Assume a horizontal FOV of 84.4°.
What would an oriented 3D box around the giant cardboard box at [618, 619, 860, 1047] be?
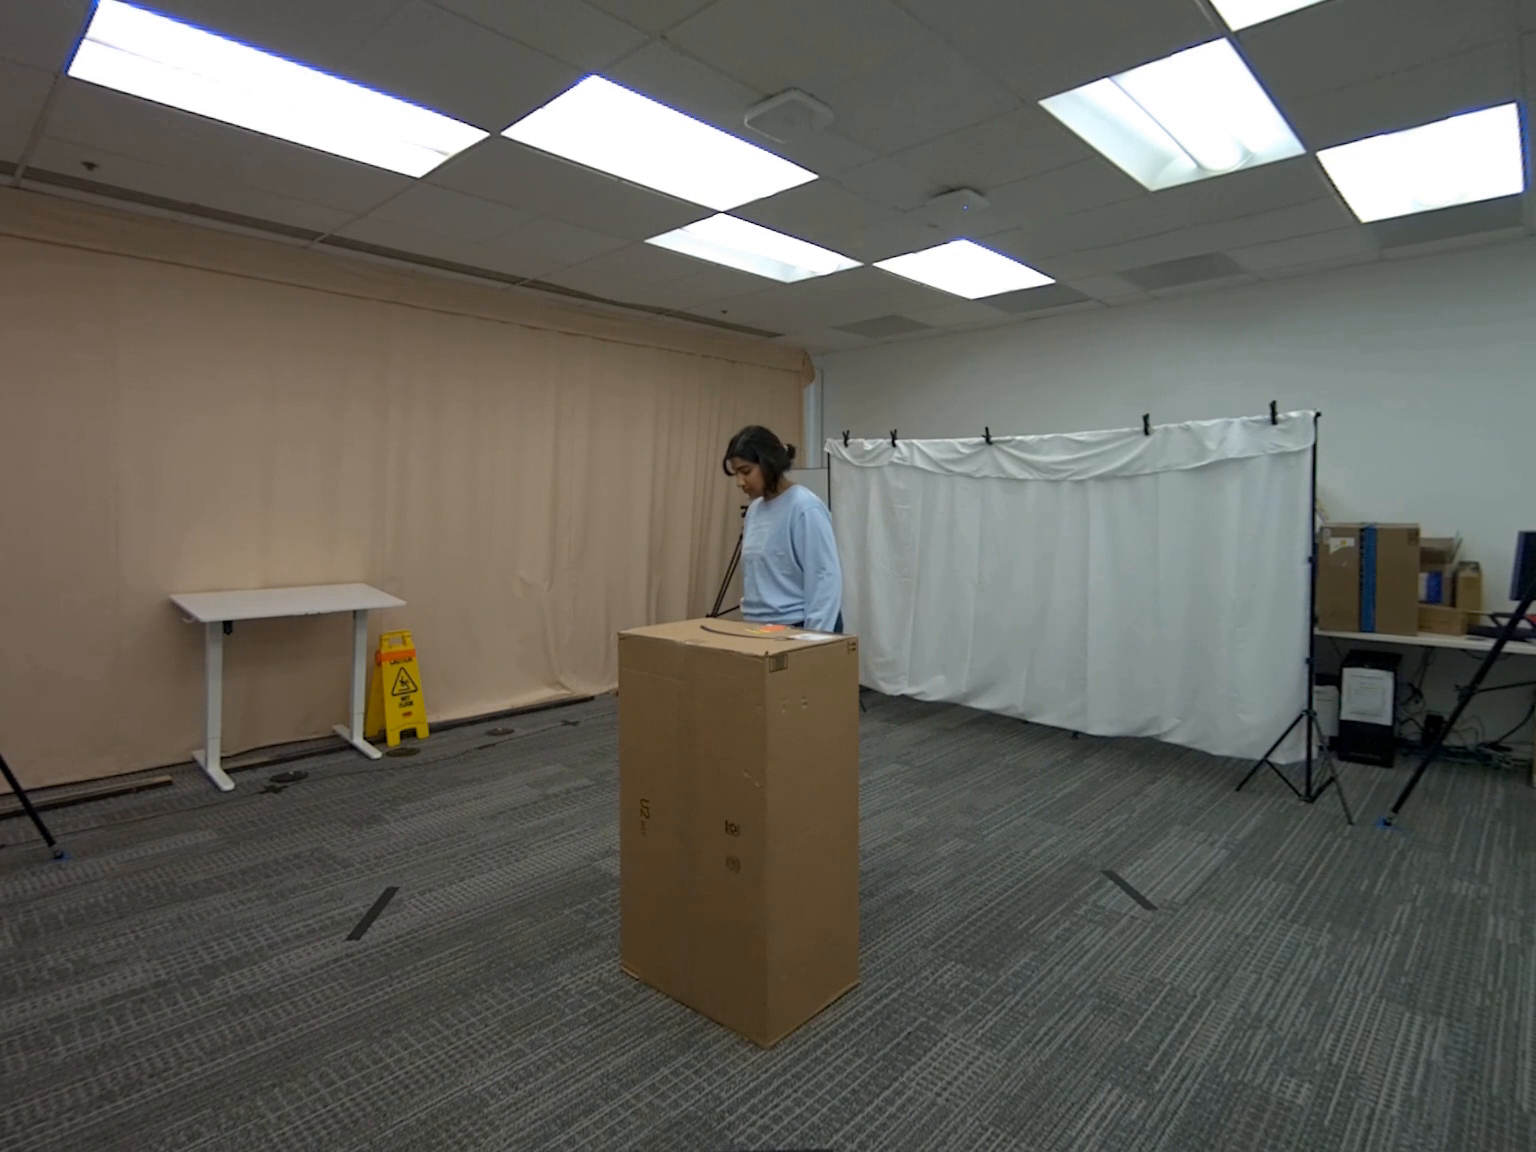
[{"bbox_3d":[-0.090,0.679,2.468,0.603,1.025,0.433,3,4,43],"label":"giant cardboard box"}]
